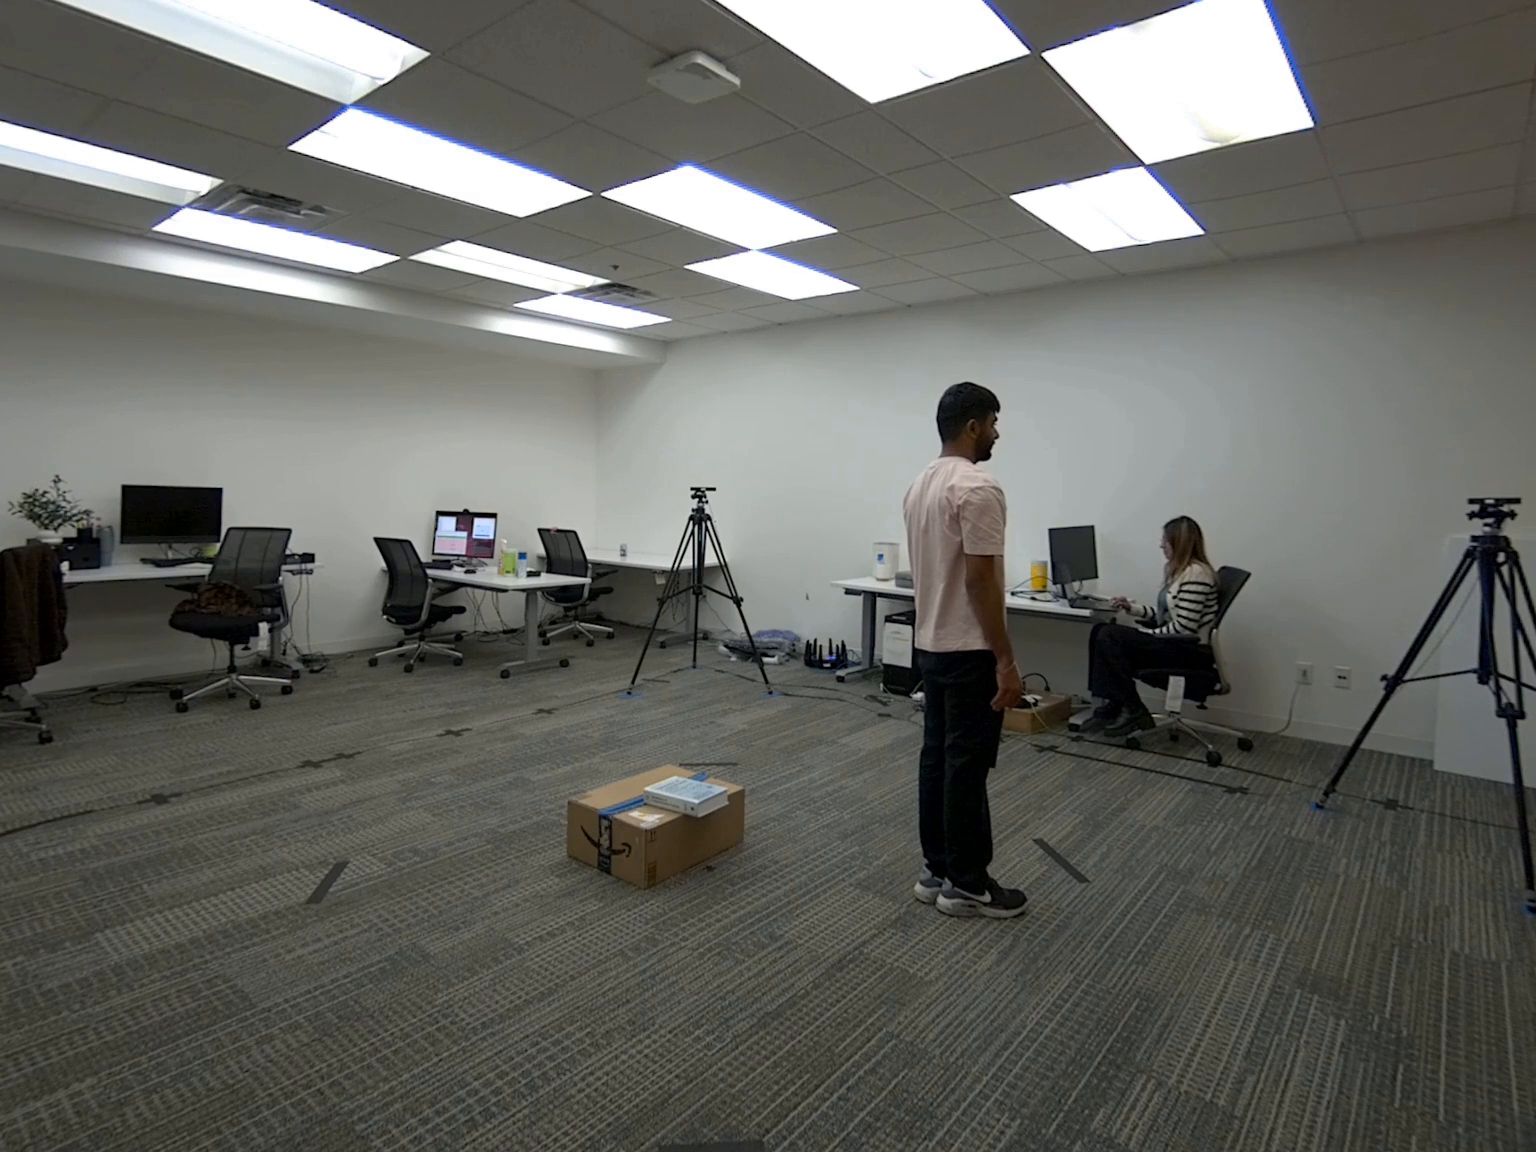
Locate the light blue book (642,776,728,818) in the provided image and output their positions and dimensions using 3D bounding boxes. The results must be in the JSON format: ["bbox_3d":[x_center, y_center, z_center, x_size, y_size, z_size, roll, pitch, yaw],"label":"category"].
[{"bbox_3d":[-0.315,0.816,3.169,0.269,0.059,0.186,2,5,35],"label":"light blue book"}]
